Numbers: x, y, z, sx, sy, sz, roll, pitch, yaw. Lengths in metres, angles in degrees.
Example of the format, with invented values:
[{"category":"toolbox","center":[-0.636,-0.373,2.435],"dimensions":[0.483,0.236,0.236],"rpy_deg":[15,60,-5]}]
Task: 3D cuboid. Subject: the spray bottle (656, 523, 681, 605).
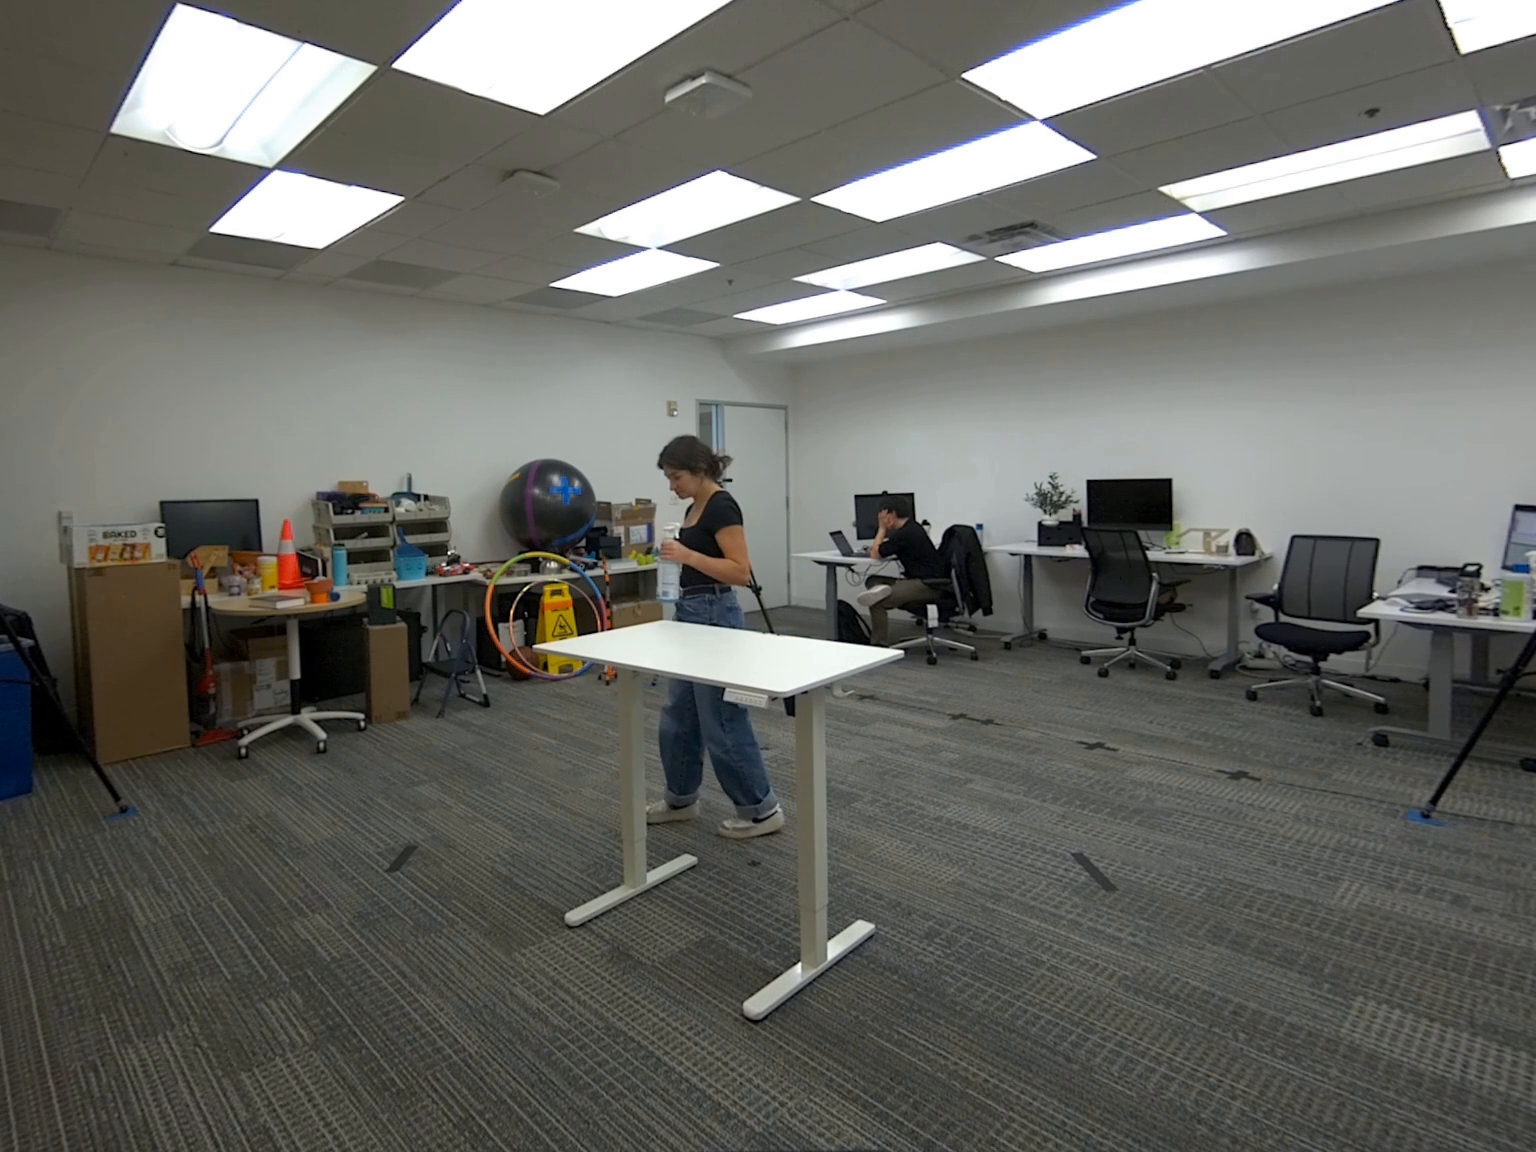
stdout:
[{"category":"spray bottle","center":[-0.370,-0.048,3.180],"dimensions":[0.086,0.297,0.091],"rpy_deg":[3,2,-16]}]
